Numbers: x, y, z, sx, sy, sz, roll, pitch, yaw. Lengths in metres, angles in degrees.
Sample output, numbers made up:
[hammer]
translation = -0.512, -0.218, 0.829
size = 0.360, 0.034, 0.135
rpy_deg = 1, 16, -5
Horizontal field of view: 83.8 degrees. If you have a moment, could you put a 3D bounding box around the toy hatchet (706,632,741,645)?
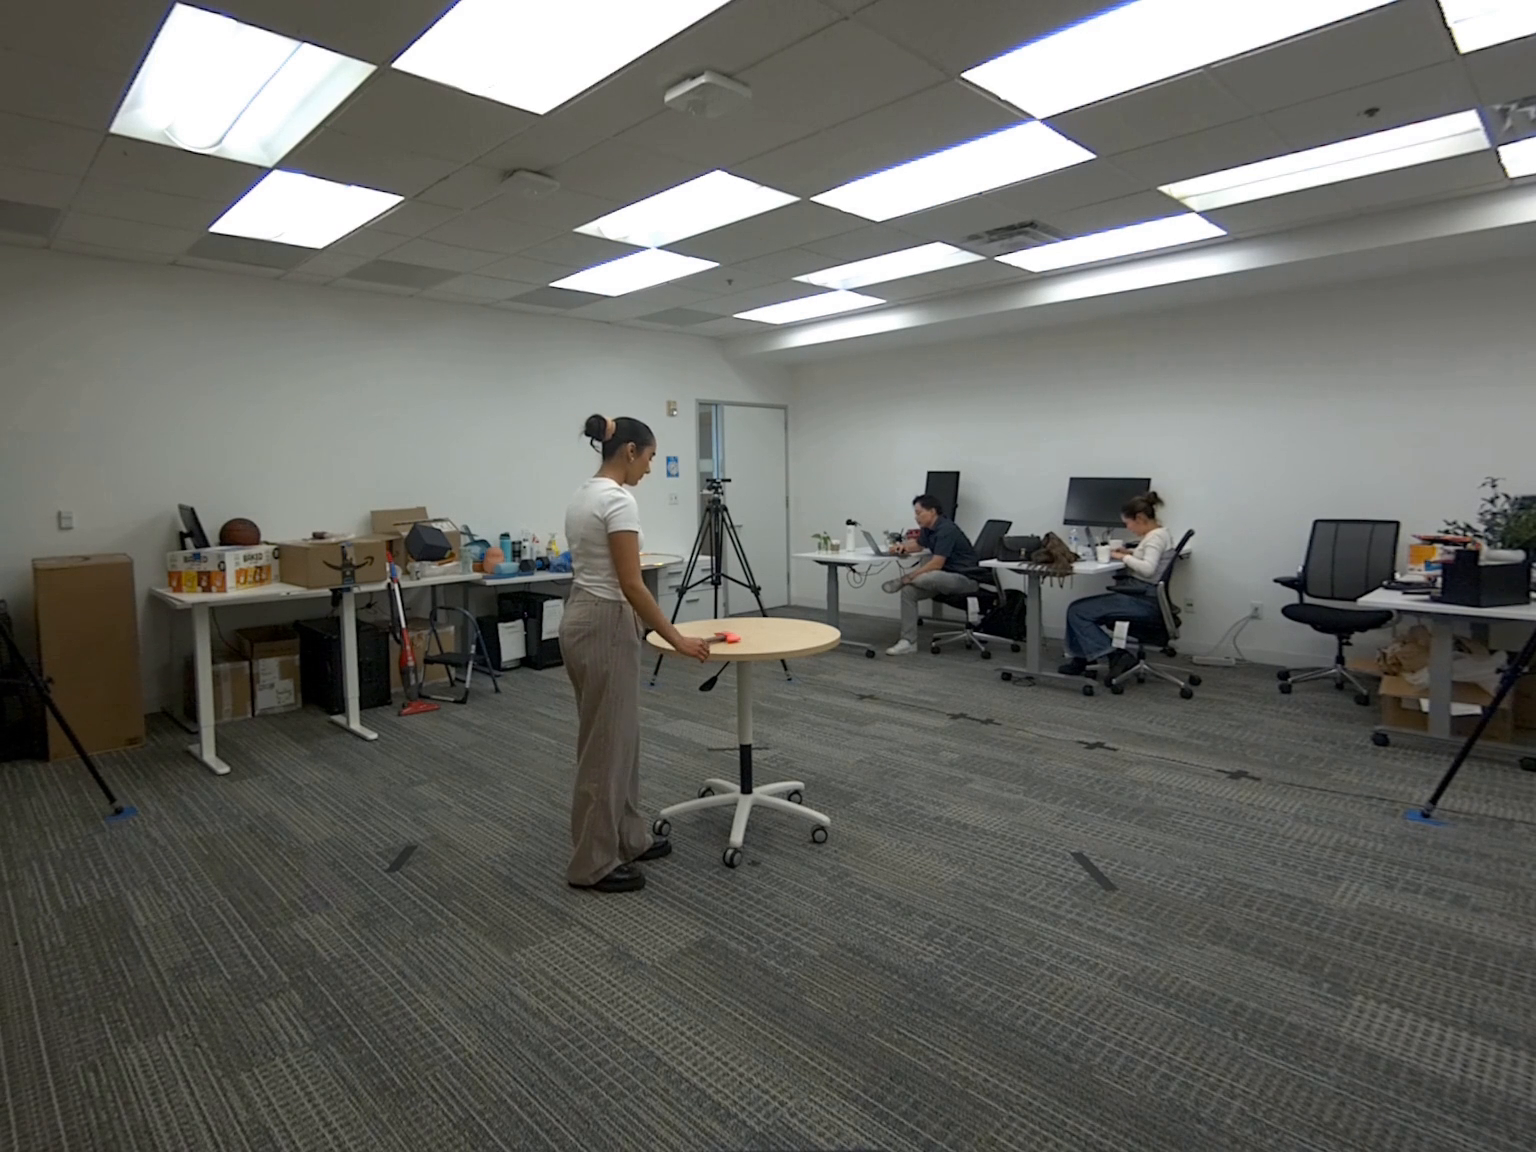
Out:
[toy hatchet]
translation = -0.193, 0.249, 3.162
size = 0.134, 0.029, 0.266
rpy_deg = 6, 11, 23
